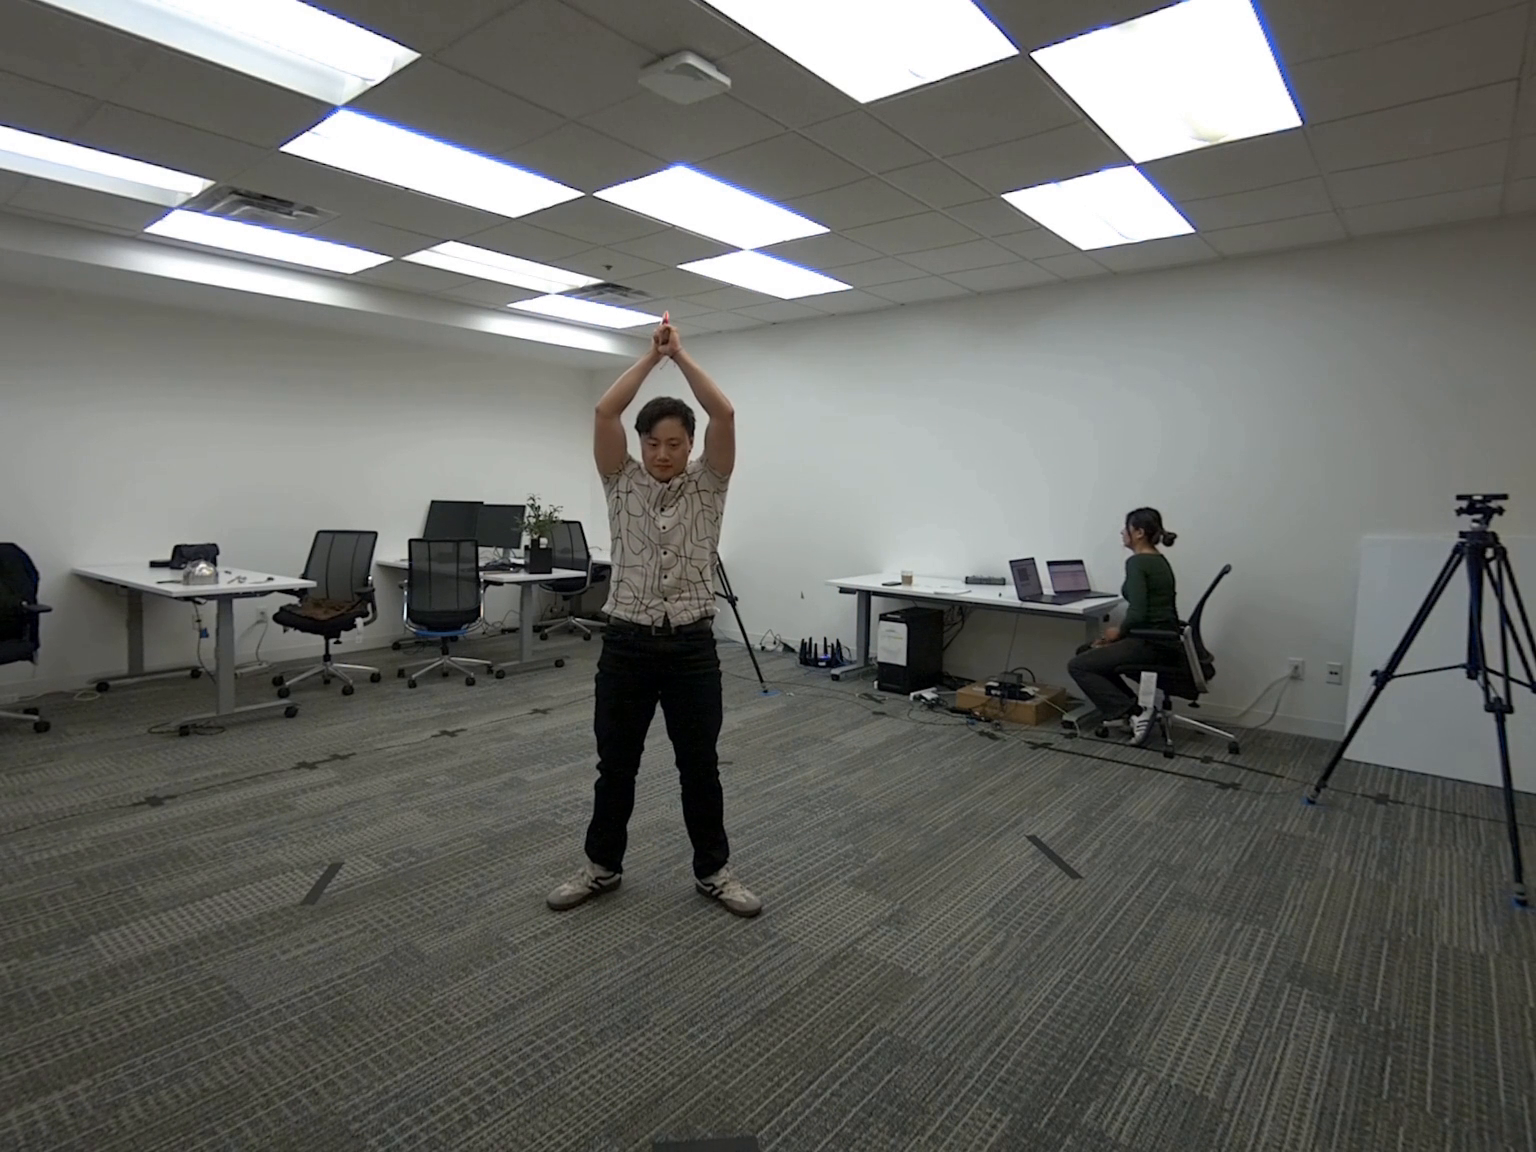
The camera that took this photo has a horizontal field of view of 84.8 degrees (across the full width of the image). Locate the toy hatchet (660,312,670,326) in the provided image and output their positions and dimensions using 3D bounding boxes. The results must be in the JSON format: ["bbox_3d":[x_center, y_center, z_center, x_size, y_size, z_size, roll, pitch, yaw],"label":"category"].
[{"bbox_3d":[-0.346,-0.799,2.722,0.029,0.130,0.273,6,7,-8],"label":"toy hatchet"}]
